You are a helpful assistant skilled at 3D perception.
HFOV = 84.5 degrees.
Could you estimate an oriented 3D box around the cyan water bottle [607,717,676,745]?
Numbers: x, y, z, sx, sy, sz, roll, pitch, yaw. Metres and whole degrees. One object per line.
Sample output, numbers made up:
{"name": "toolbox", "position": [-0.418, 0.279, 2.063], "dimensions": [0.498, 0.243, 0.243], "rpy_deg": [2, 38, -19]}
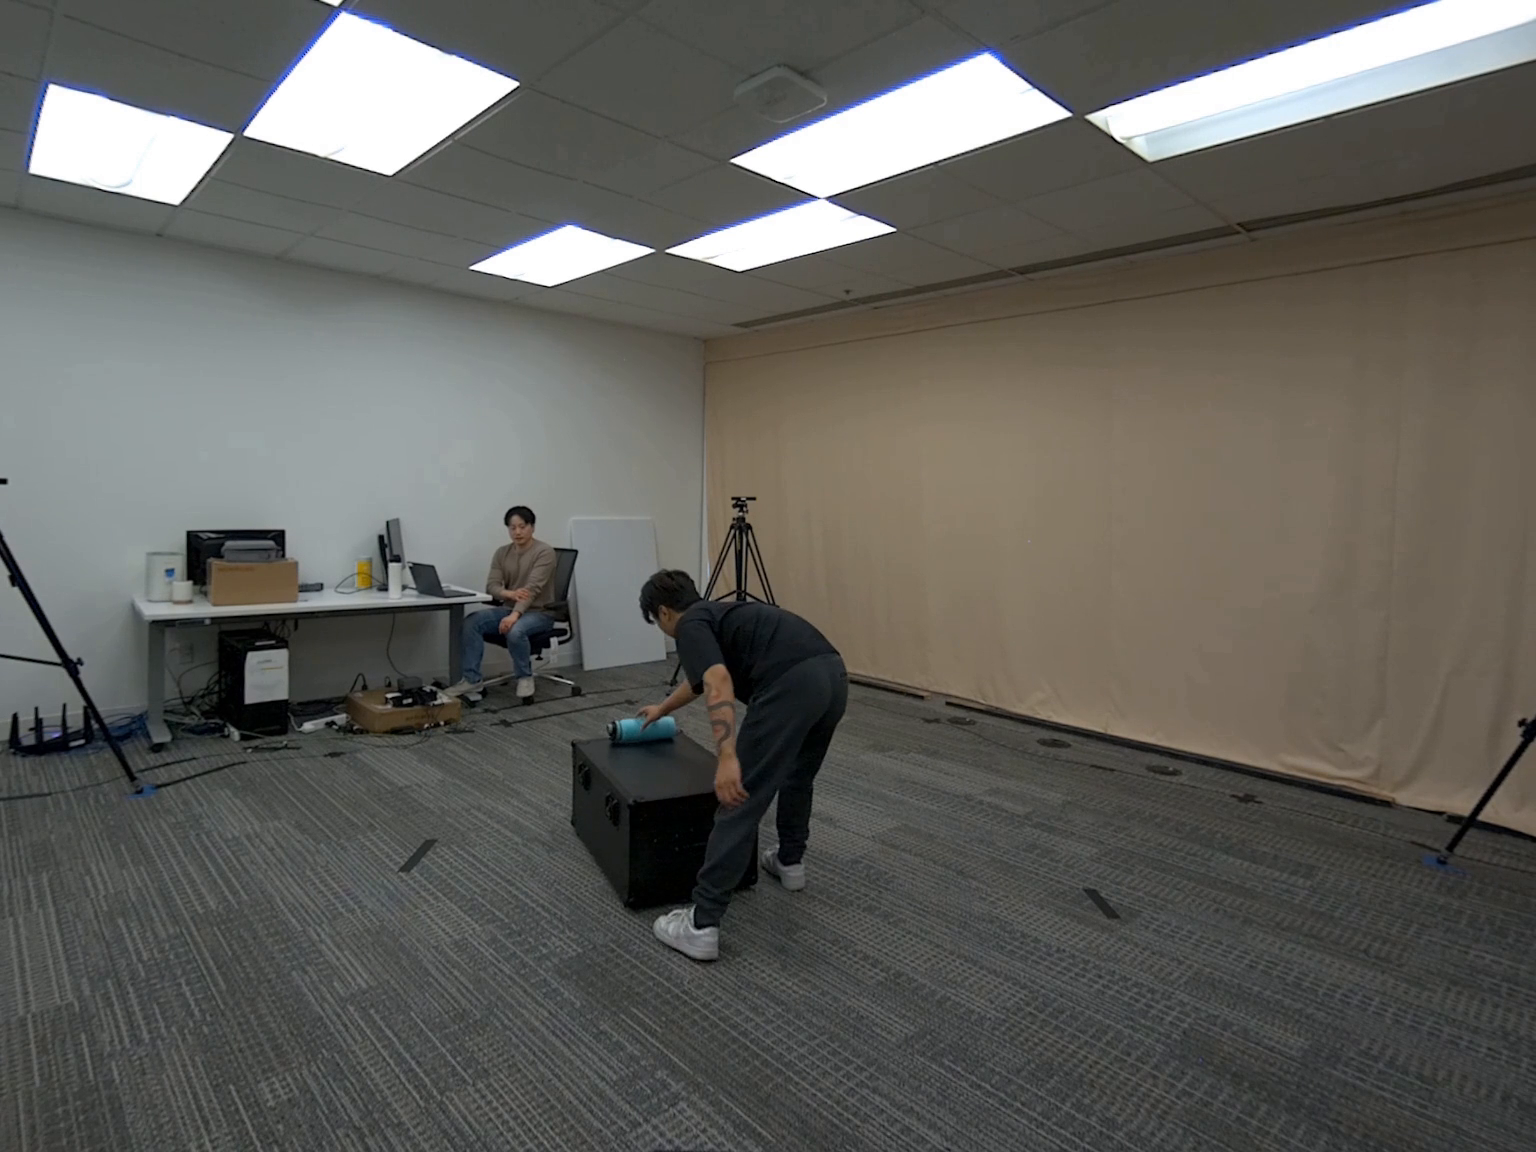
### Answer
{"name": "cyan water bottle", "position": [-0.538, 0.638, 3.503], "dimensions": [0.279, 0.092, 0.094], "rpy_deg": [0, 5, -23]}
